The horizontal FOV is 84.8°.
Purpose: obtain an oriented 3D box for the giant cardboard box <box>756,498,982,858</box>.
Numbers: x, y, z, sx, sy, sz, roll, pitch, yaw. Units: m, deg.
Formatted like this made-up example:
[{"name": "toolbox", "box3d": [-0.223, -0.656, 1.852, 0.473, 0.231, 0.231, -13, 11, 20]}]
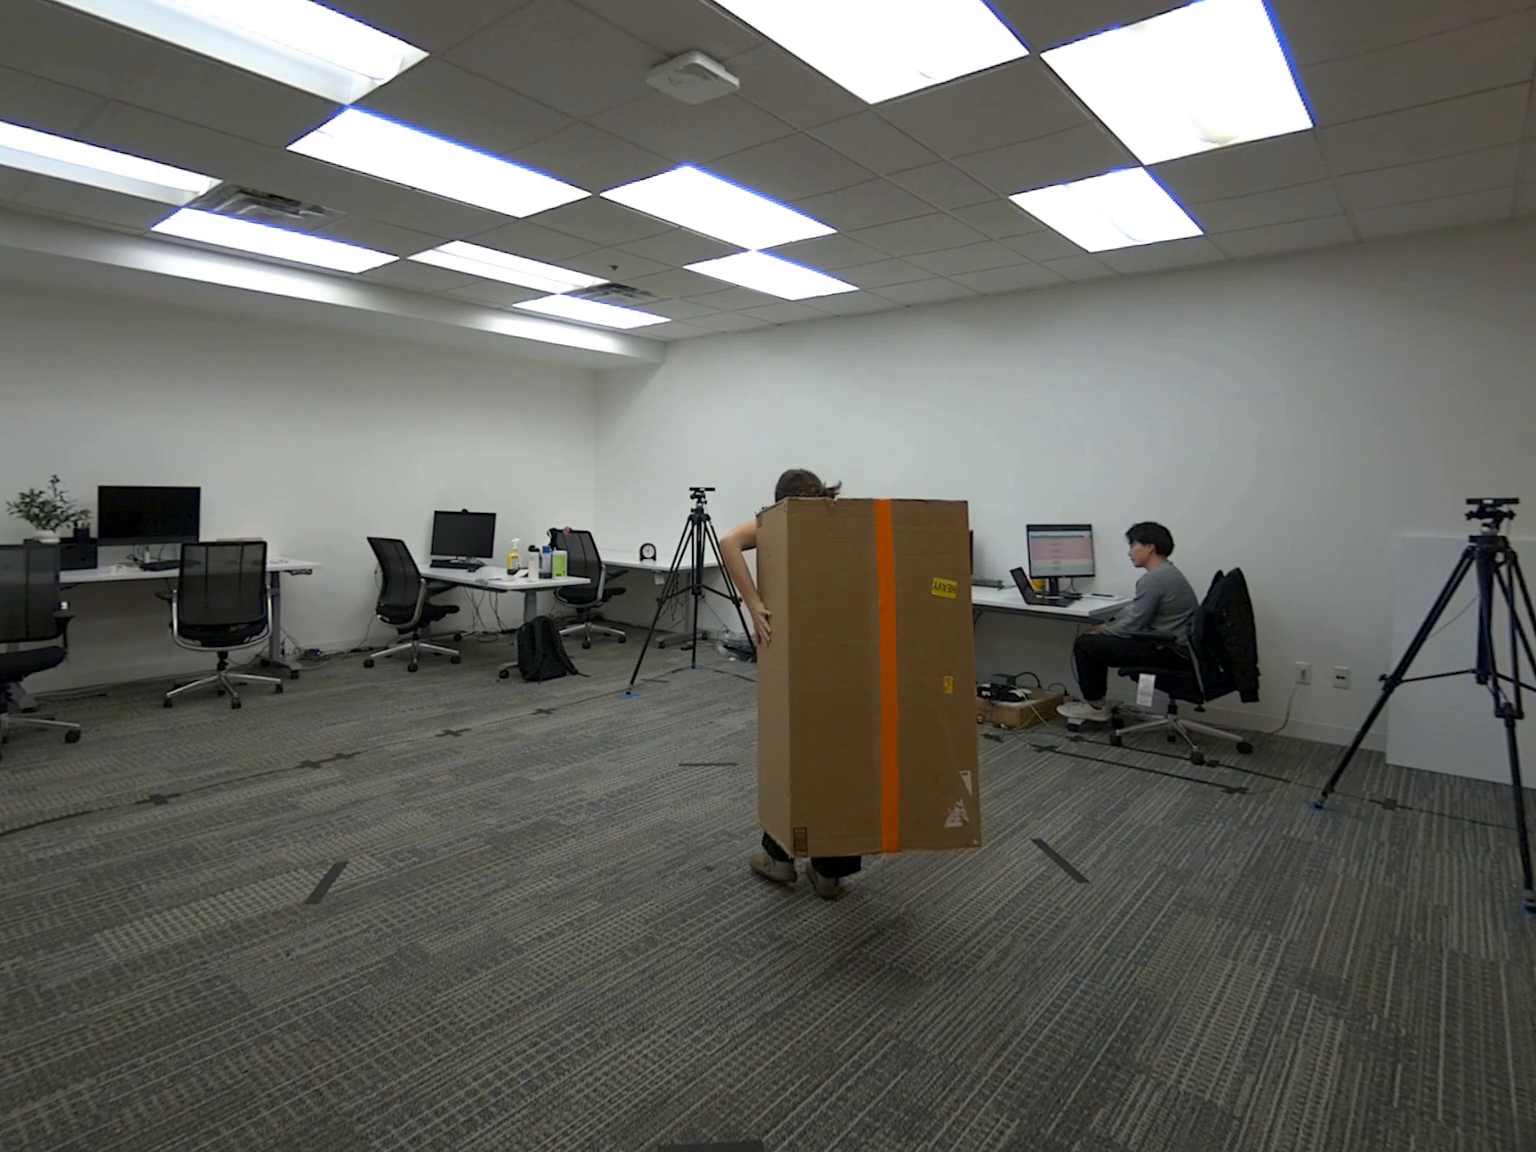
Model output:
[{"name": "giant cardboard box", "box3d": [0.283, 0.293, 2.675, 0.571, 1.031, 0.429, 0, -5, -12]}]
